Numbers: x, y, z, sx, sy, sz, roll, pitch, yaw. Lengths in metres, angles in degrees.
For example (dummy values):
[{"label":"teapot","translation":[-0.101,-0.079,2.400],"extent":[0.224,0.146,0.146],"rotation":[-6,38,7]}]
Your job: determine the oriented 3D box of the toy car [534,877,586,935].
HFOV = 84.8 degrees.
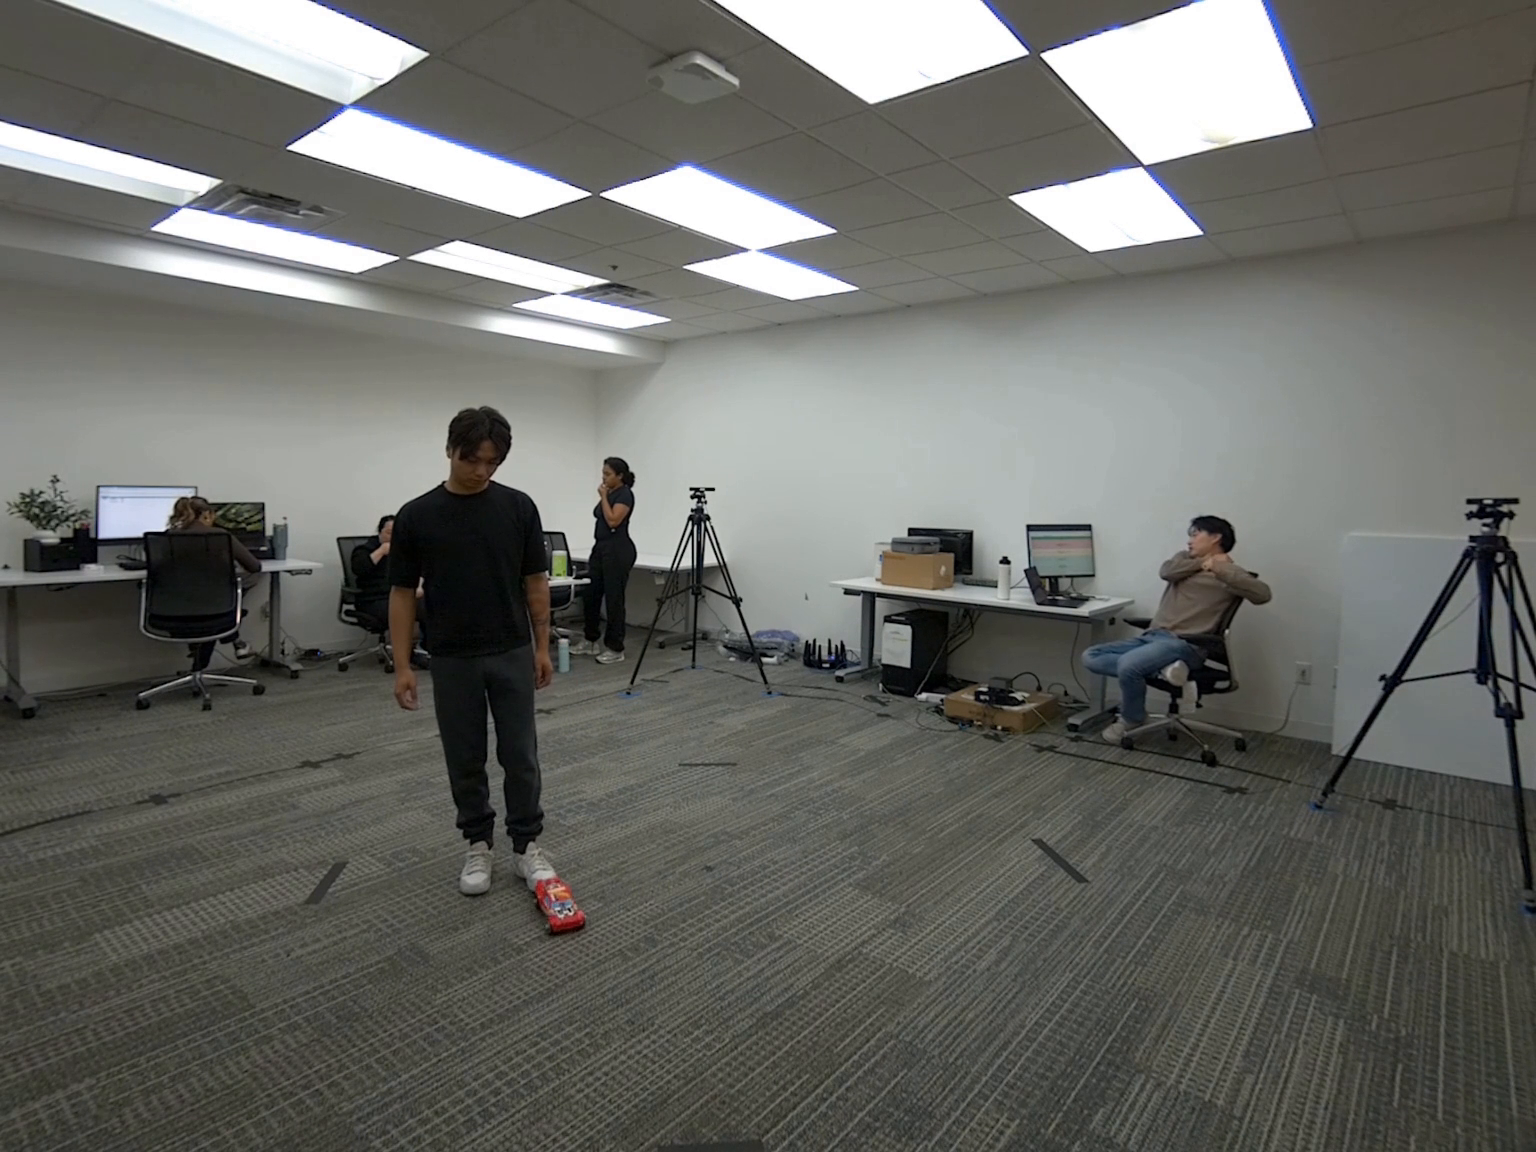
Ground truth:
[{"label":"toy car","translation":[-0.688,1.056,2.736],"extent":[0.127,0.082,0.265],"rotation":[-2,21,-29]}]
